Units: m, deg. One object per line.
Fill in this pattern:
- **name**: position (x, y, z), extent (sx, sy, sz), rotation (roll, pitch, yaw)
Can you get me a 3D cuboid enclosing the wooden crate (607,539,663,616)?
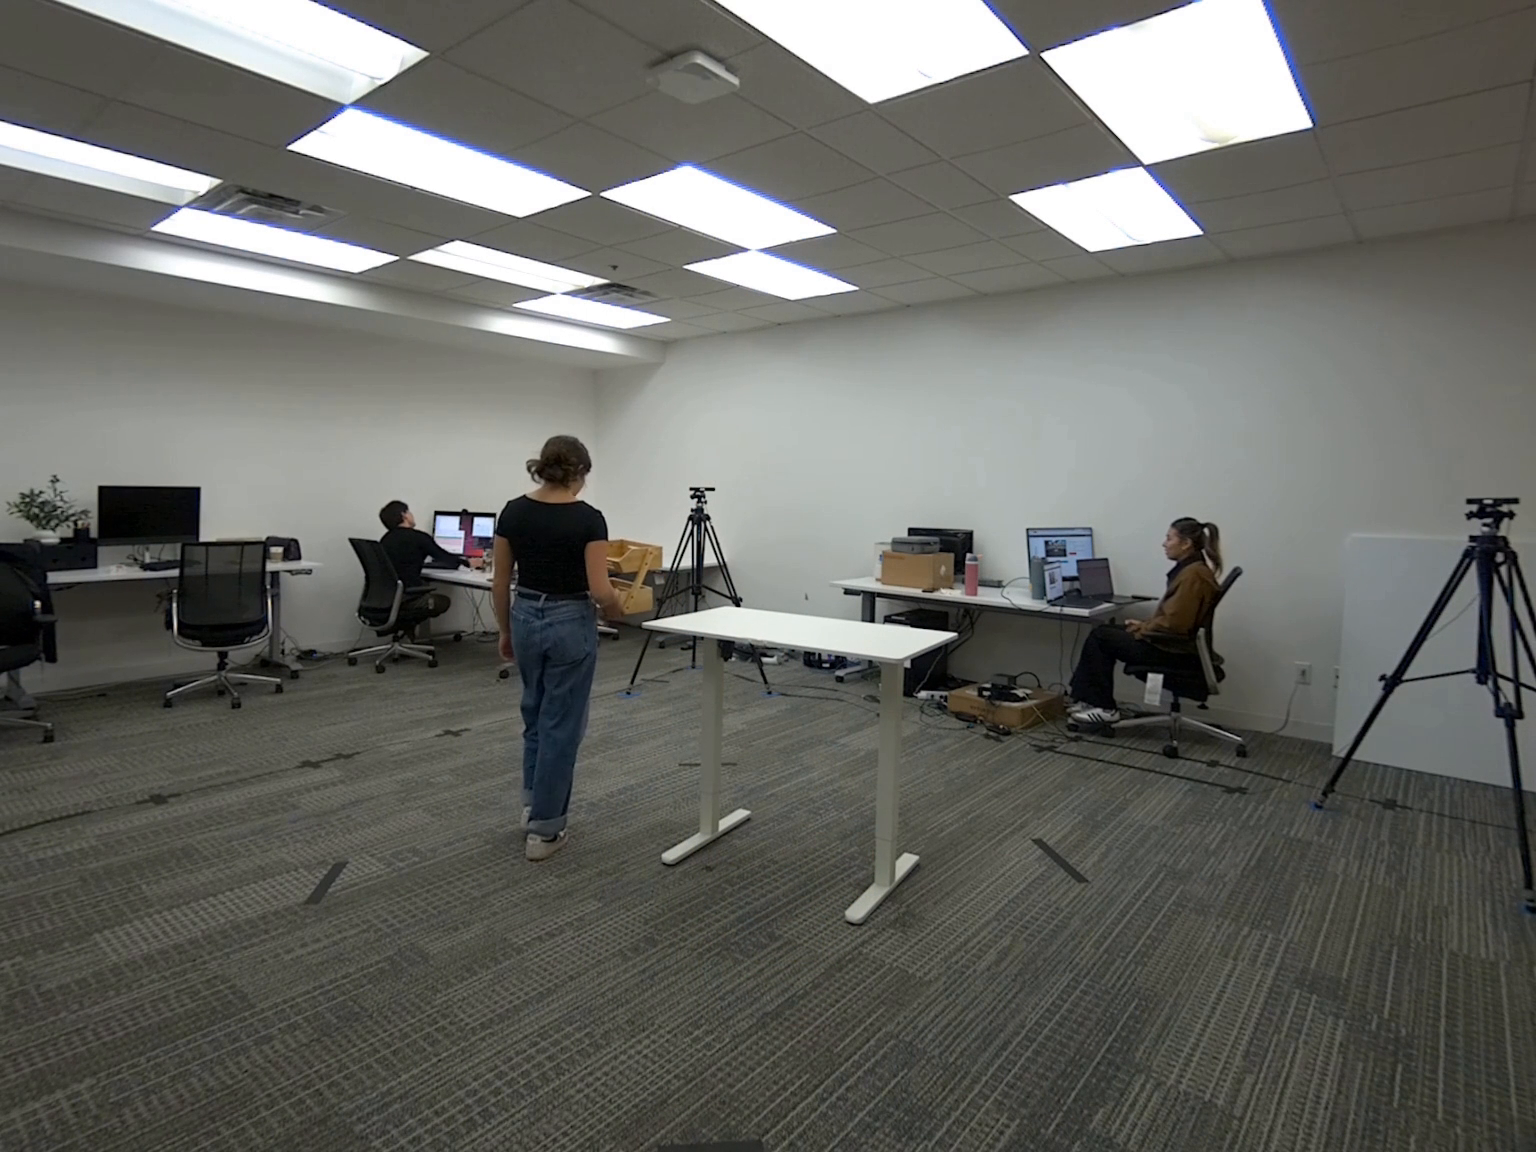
- **wooden crate**: position (-0.661, -0.007, 3.522), extent (0.293, 0.271, 0.336), rotation (-6, 11, -38)
